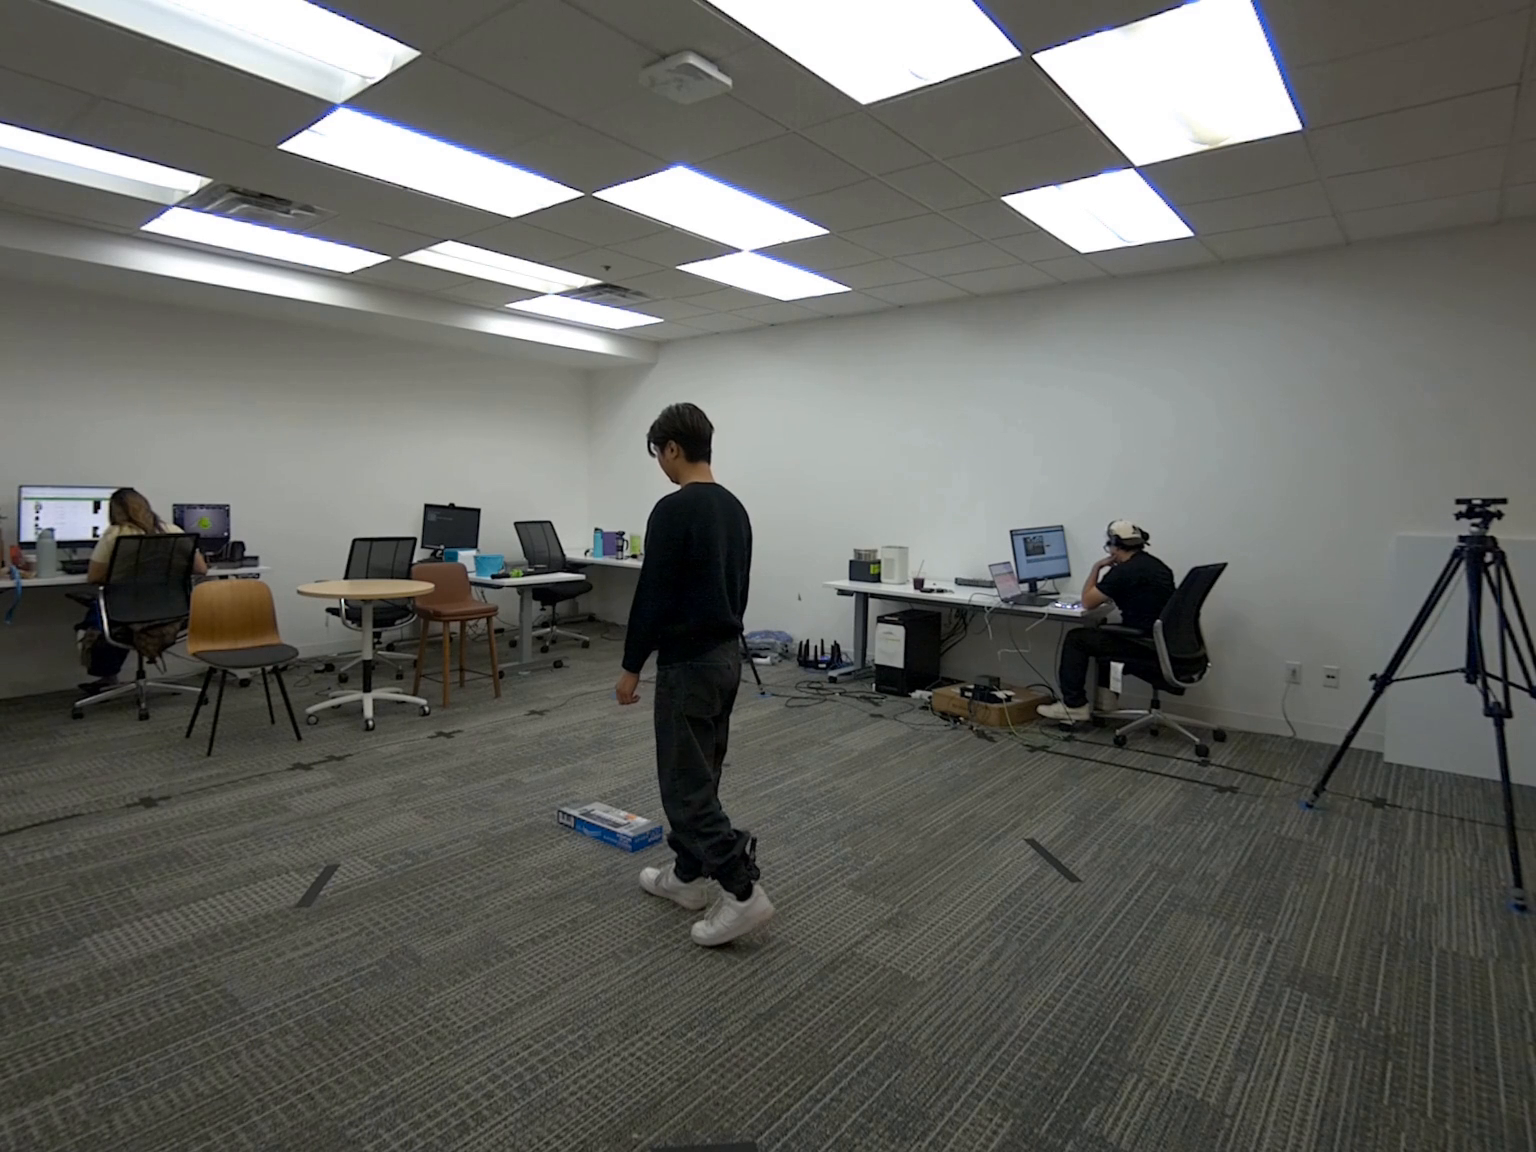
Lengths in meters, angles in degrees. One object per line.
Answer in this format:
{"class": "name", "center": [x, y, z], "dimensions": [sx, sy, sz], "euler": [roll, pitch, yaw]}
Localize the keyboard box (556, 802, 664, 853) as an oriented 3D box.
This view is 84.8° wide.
{"class": "keyboard box", "center": [-0.653, 0.999, 3.444], "dimensions": [0.451, 0.059, 0.171], "euler": [6, 6, 38]}
